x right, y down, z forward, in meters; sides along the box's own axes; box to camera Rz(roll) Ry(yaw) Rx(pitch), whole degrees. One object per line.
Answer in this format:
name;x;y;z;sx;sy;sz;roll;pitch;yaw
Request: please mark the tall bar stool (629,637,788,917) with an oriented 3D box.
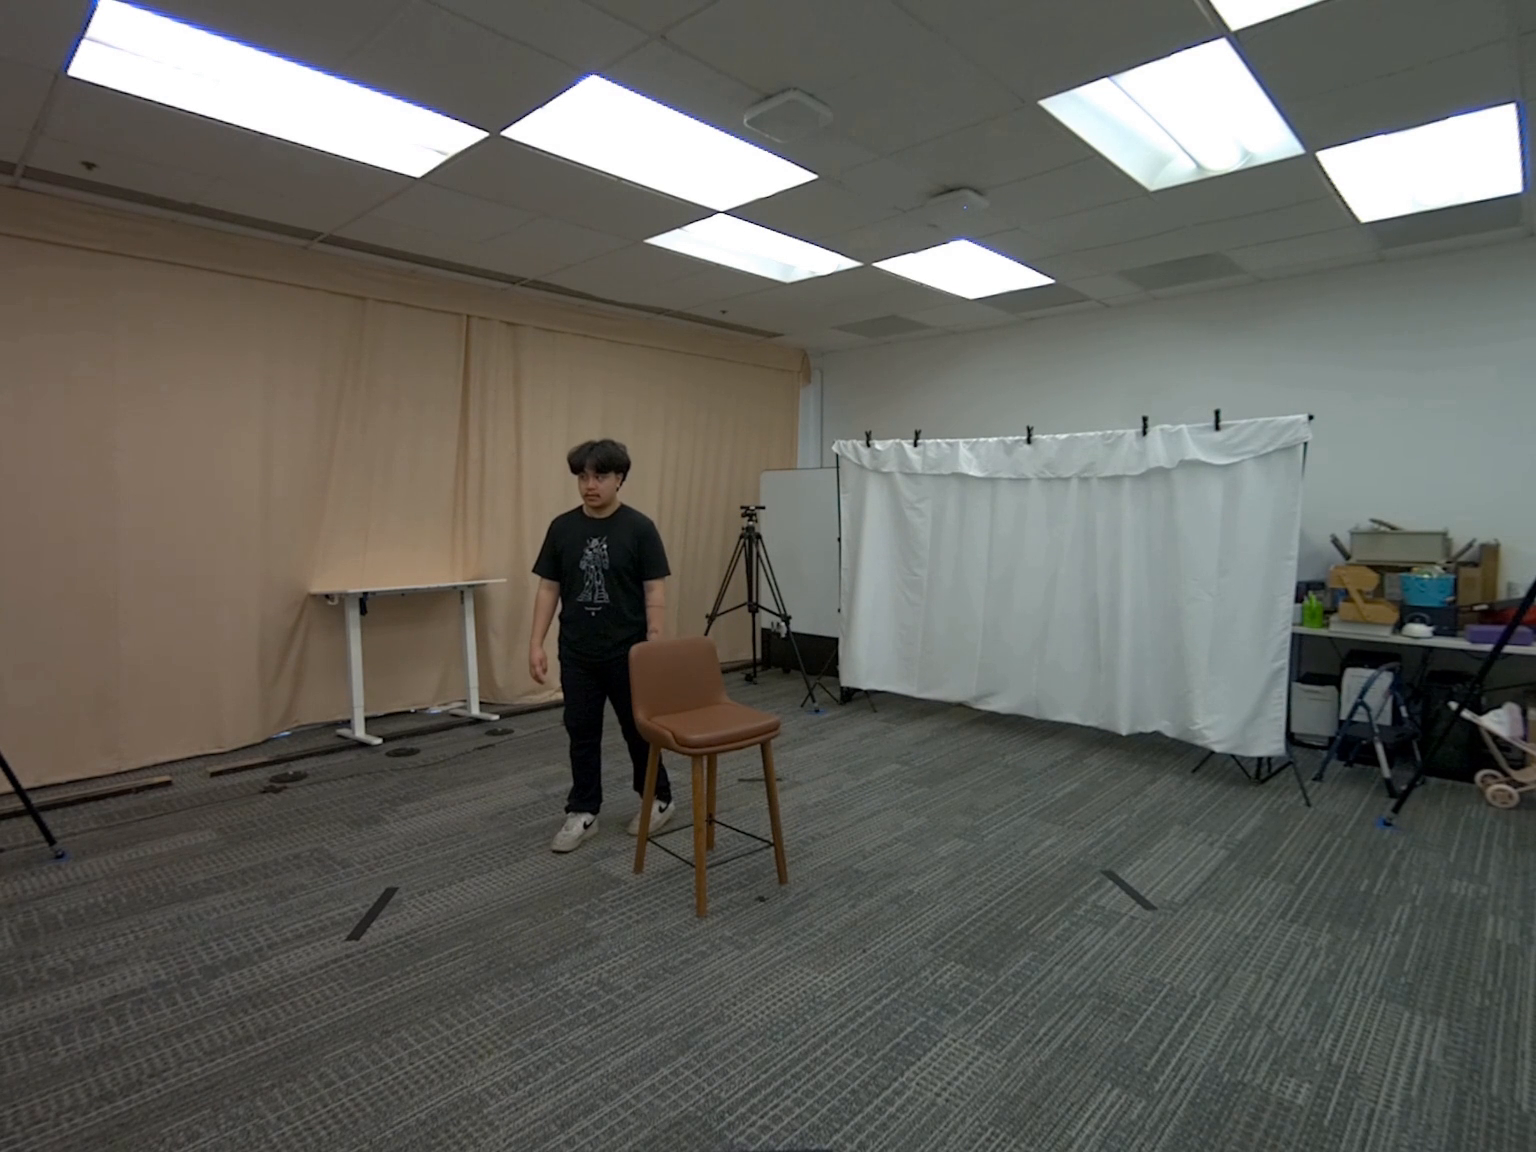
tall bar stool;-0.230;0.698;3.132;0.443;0.889;0.482;-3;2;-40
